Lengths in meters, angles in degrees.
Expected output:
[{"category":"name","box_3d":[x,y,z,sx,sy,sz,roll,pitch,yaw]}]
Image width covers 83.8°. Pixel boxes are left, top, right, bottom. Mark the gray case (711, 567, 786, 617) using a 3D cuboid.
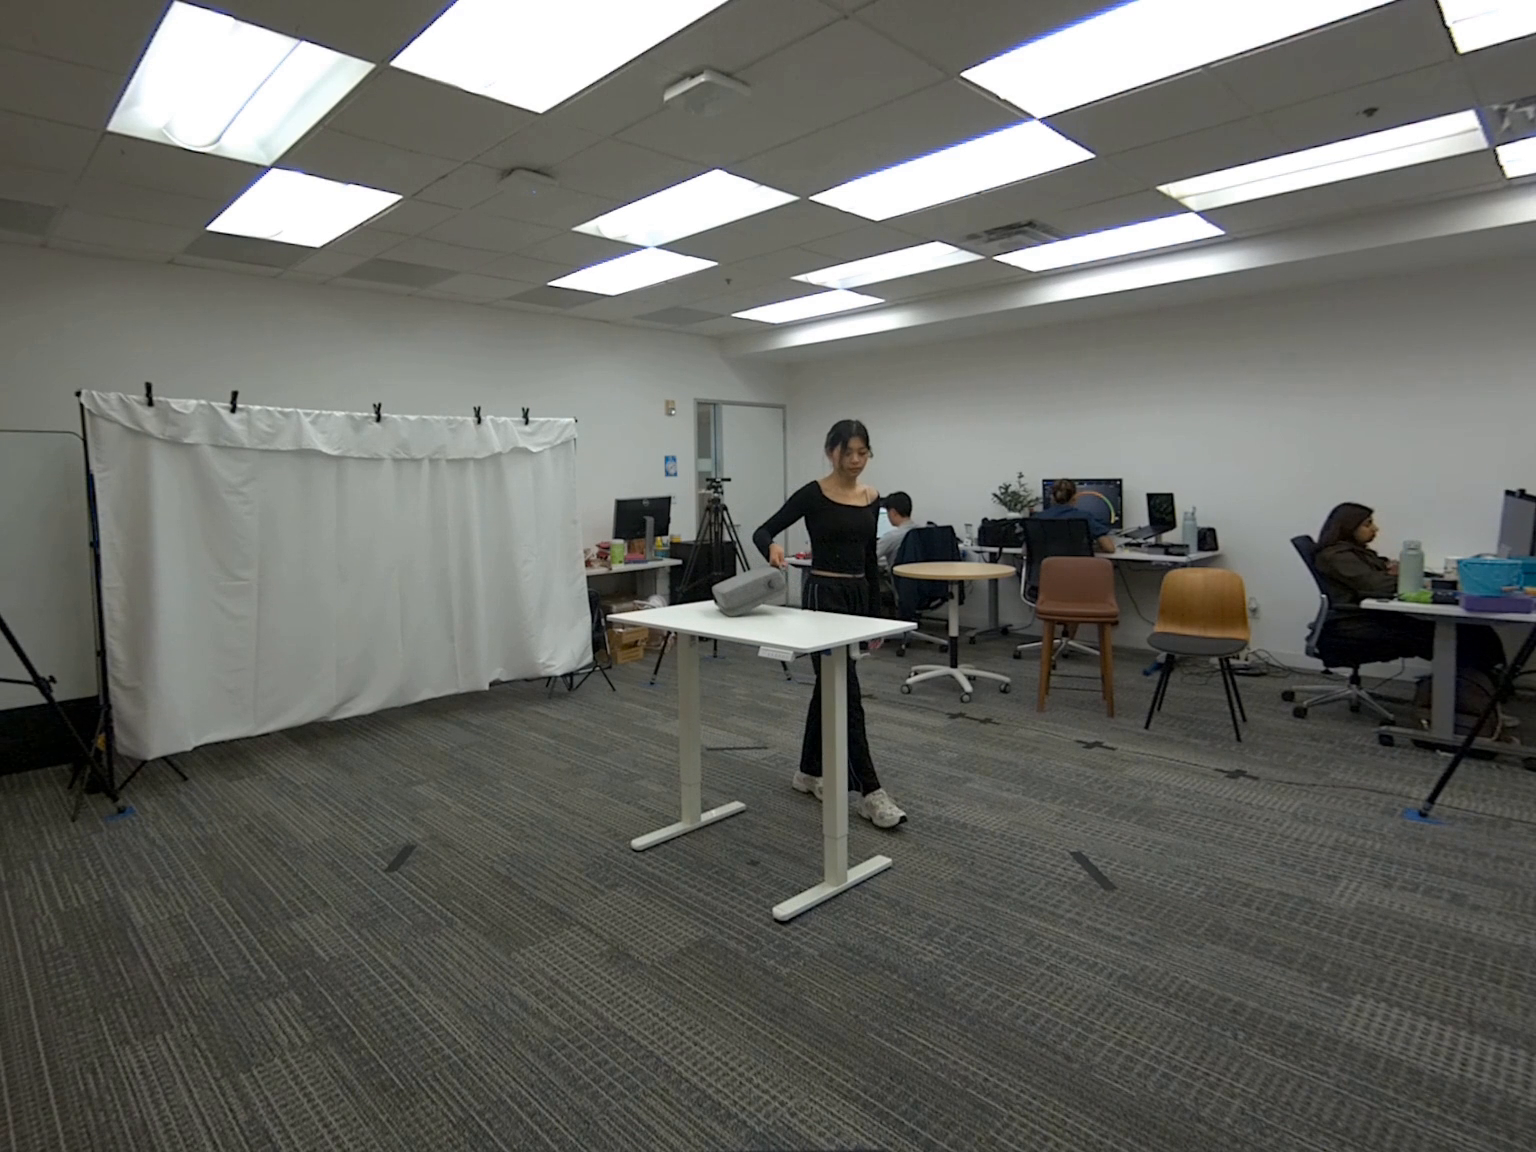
[{"category":"gray case","box_3d":[-0.070,0.053,3.283,0.259,0.103,0.260,-24,9,-10]}]
